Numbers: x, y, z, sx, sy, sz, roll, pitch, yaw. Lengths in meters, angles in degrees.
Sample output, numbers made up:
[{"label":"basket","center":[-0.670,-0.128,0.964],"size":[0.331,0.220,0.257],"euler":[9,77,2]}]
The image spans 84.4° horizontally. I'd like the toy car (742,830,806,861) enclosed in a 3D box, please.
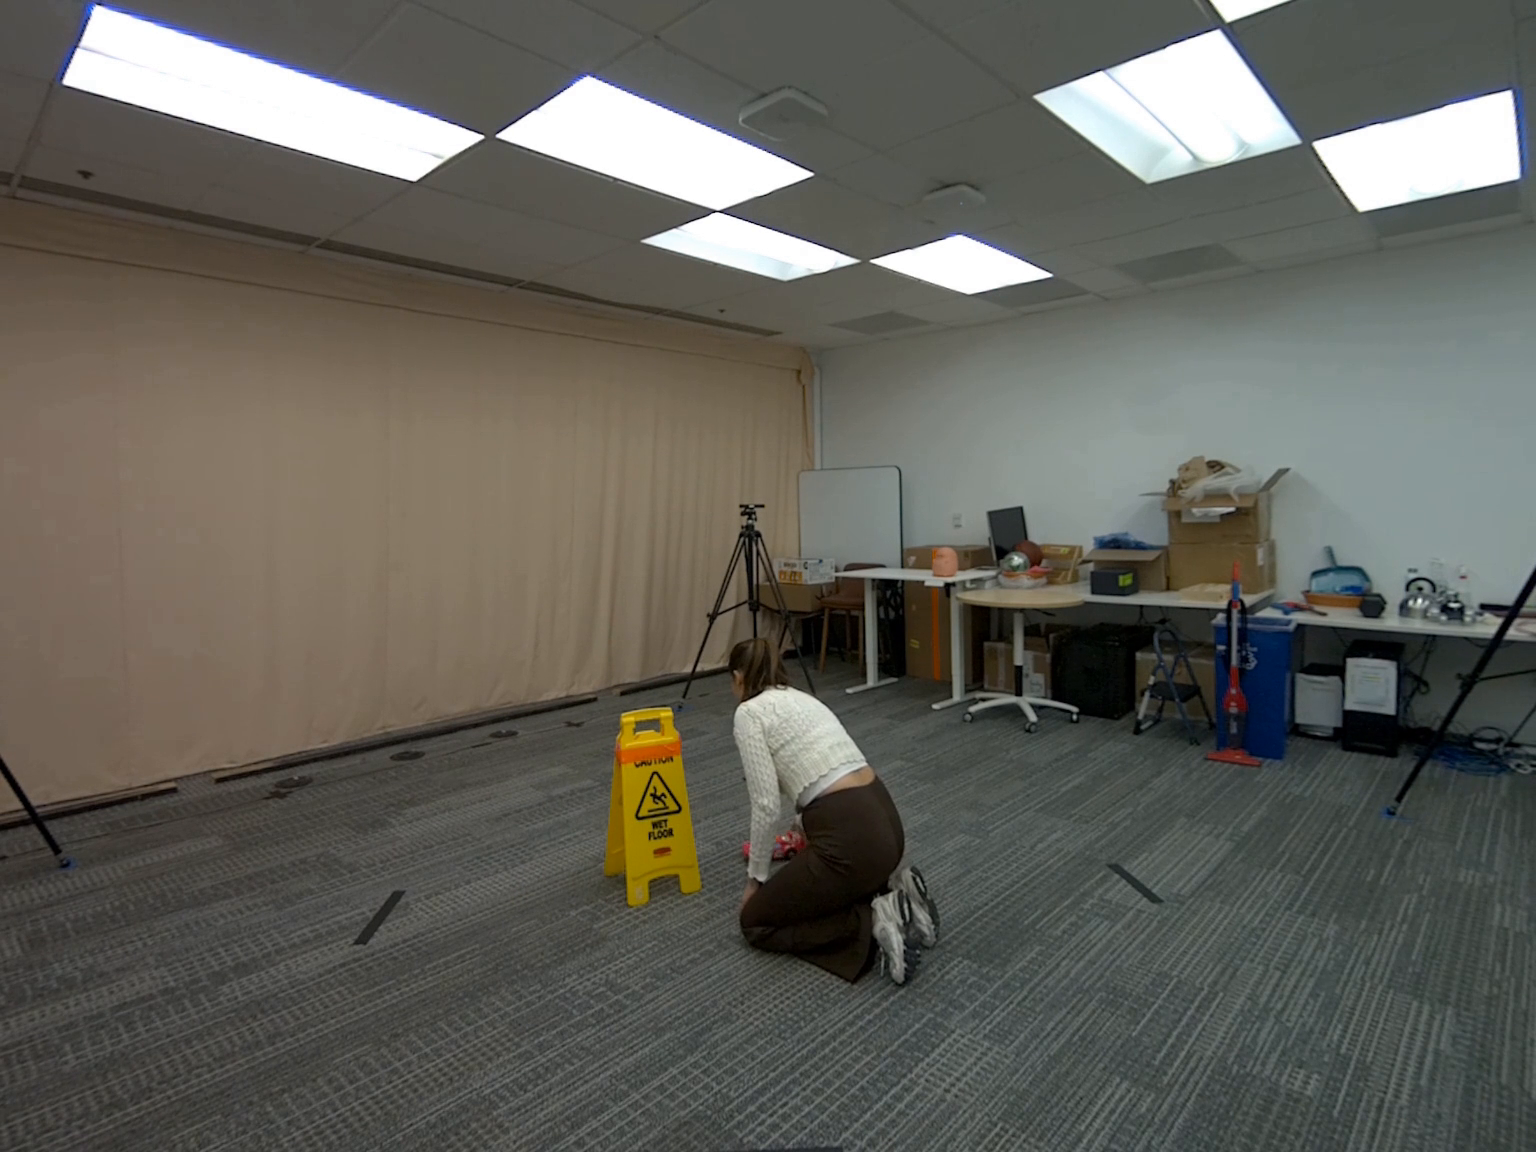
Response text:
[{"label":"toy car","center":[0.014,1.082,3.322],"size":[0.252,0.082,0.133],"euler":[-13,9,-13]}]
